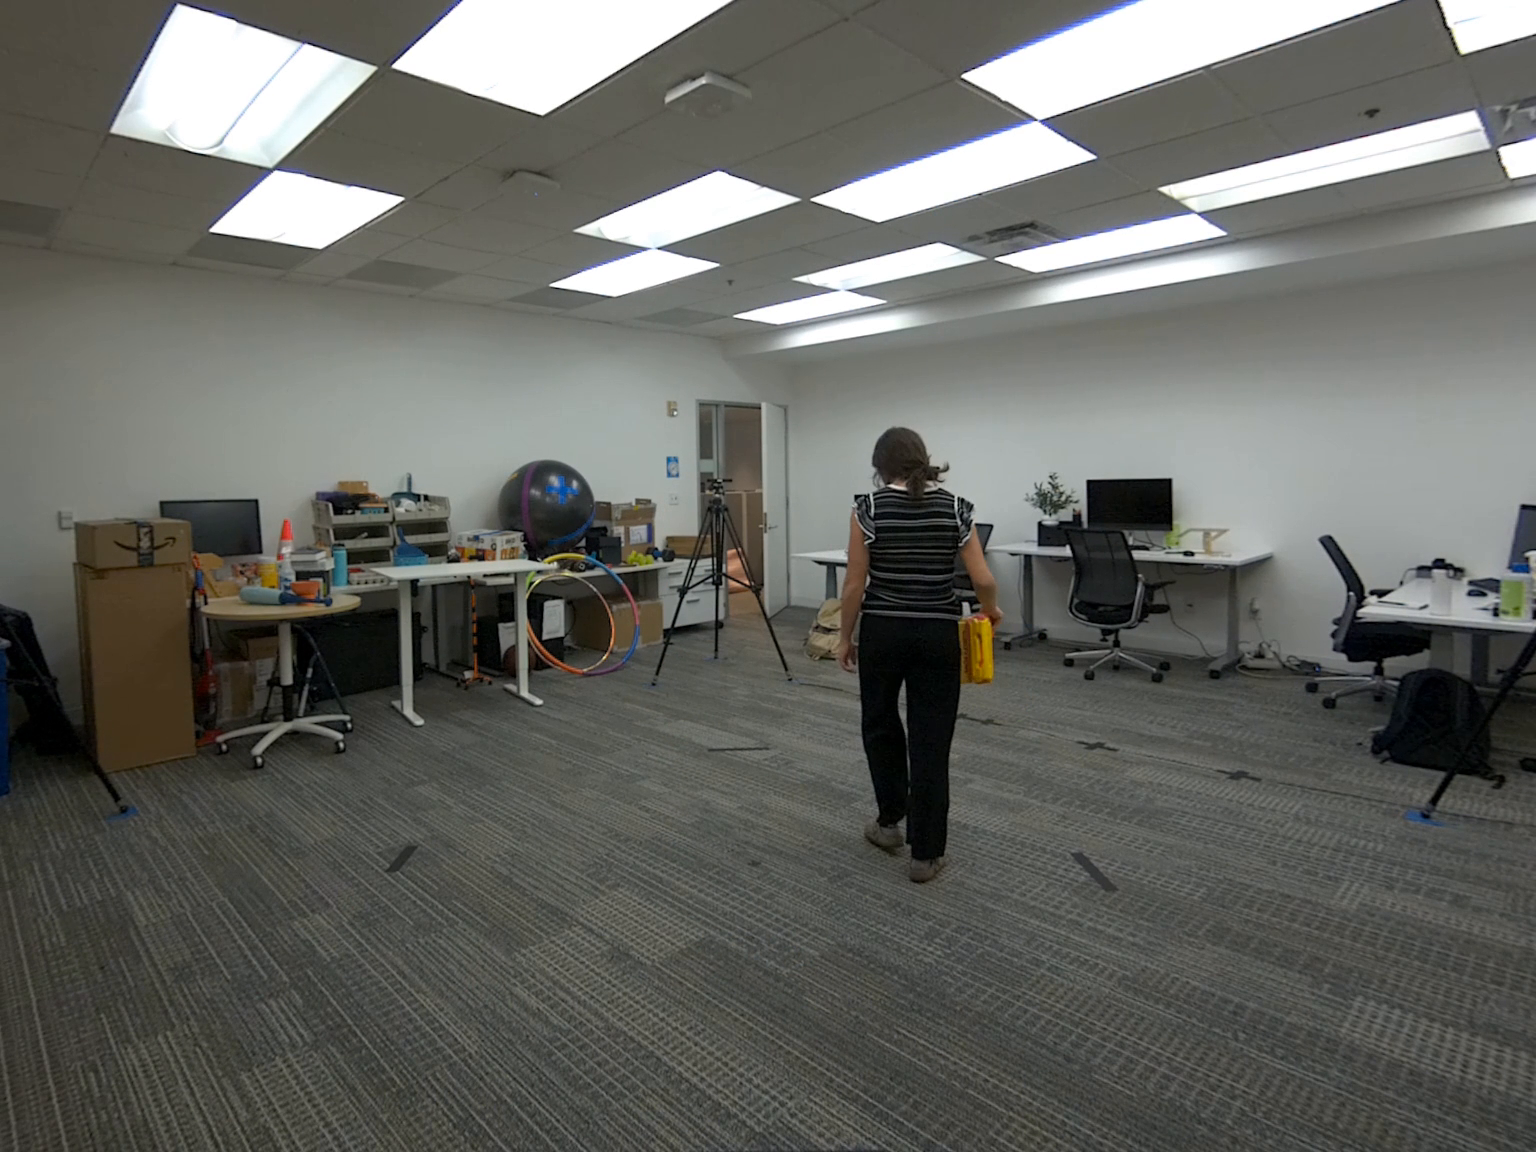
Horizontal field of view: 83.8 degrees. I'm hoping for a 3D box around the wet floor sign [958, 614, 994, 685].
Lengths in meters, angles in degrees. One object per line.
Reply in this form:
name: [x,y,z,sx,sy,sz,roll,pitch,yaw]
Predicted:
wet floor sign: [0.747,0.276,3.207,0.291,0.284,0.640,-2,-5,2]
